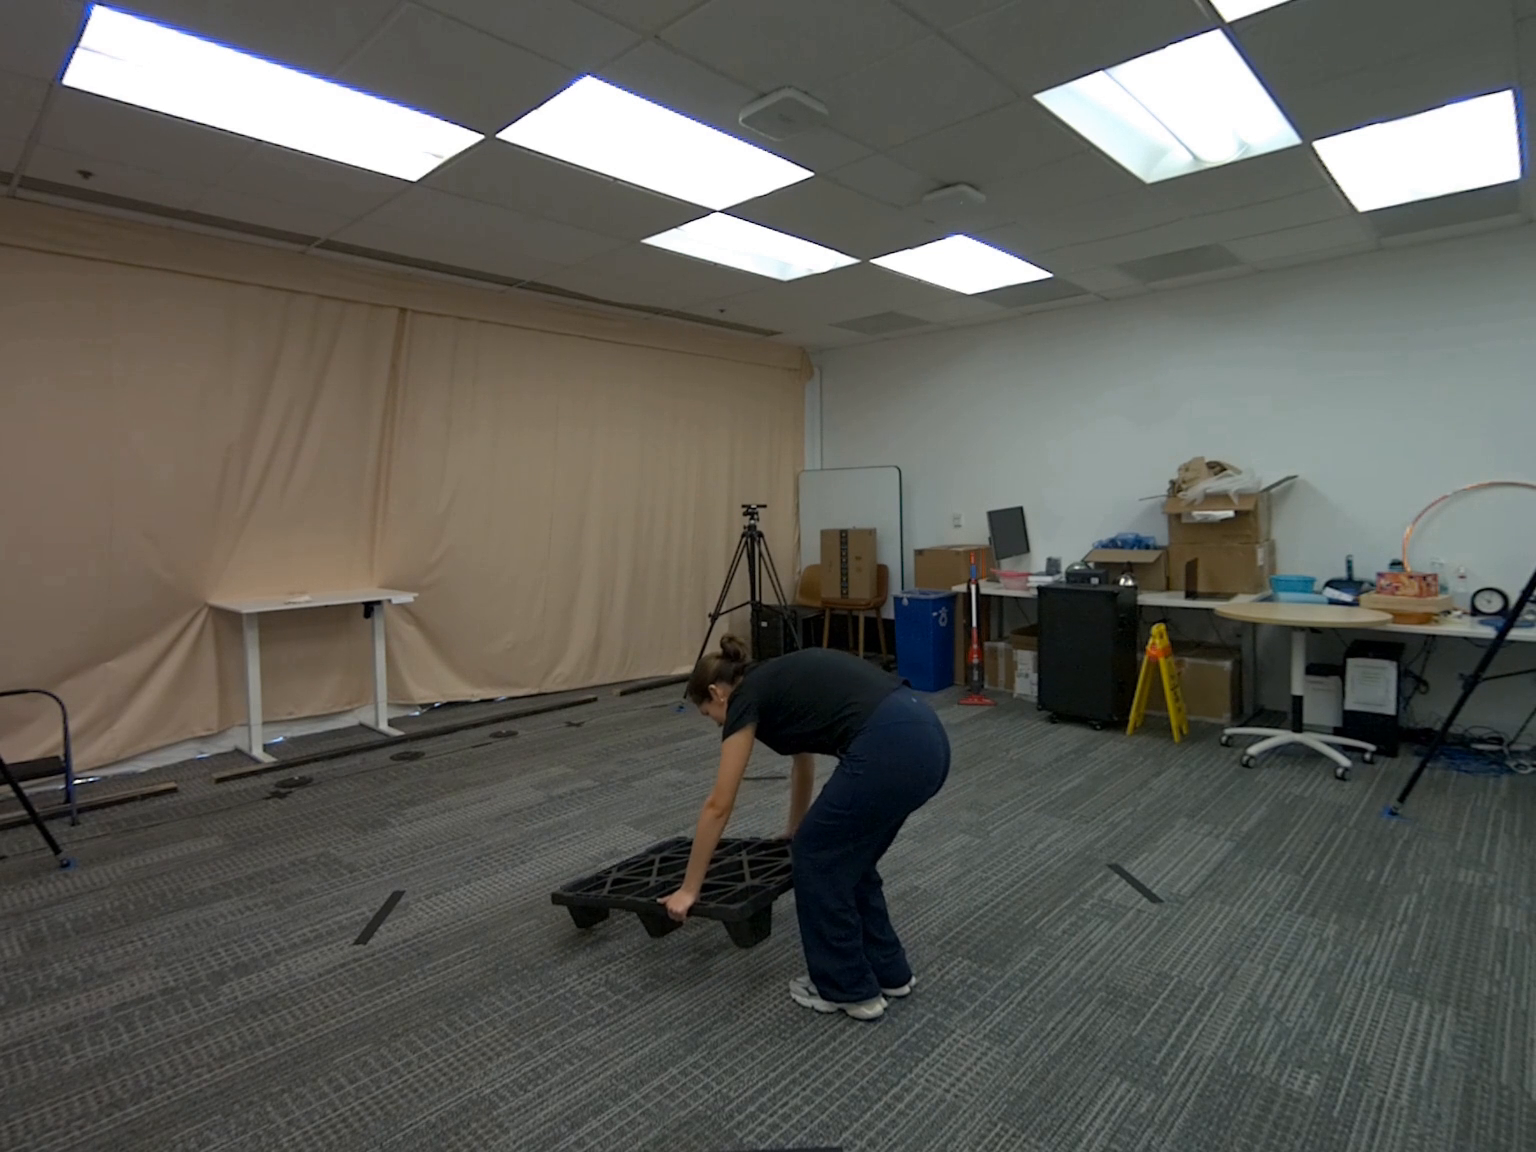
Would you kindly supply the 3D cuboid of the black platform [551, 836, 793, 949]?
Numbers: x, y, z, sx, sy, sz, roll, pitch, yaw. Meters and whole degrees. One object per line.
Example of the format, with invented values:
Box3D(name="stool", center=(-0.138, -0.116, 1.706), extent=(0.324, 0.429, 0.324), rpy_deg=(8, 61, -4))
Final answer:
Box3D(name="black platform", center=(-0.193, 0.993, 2.677), extent=(0.826, 0.144, 0.587), rpy_deg=(-14, -4, 38))
